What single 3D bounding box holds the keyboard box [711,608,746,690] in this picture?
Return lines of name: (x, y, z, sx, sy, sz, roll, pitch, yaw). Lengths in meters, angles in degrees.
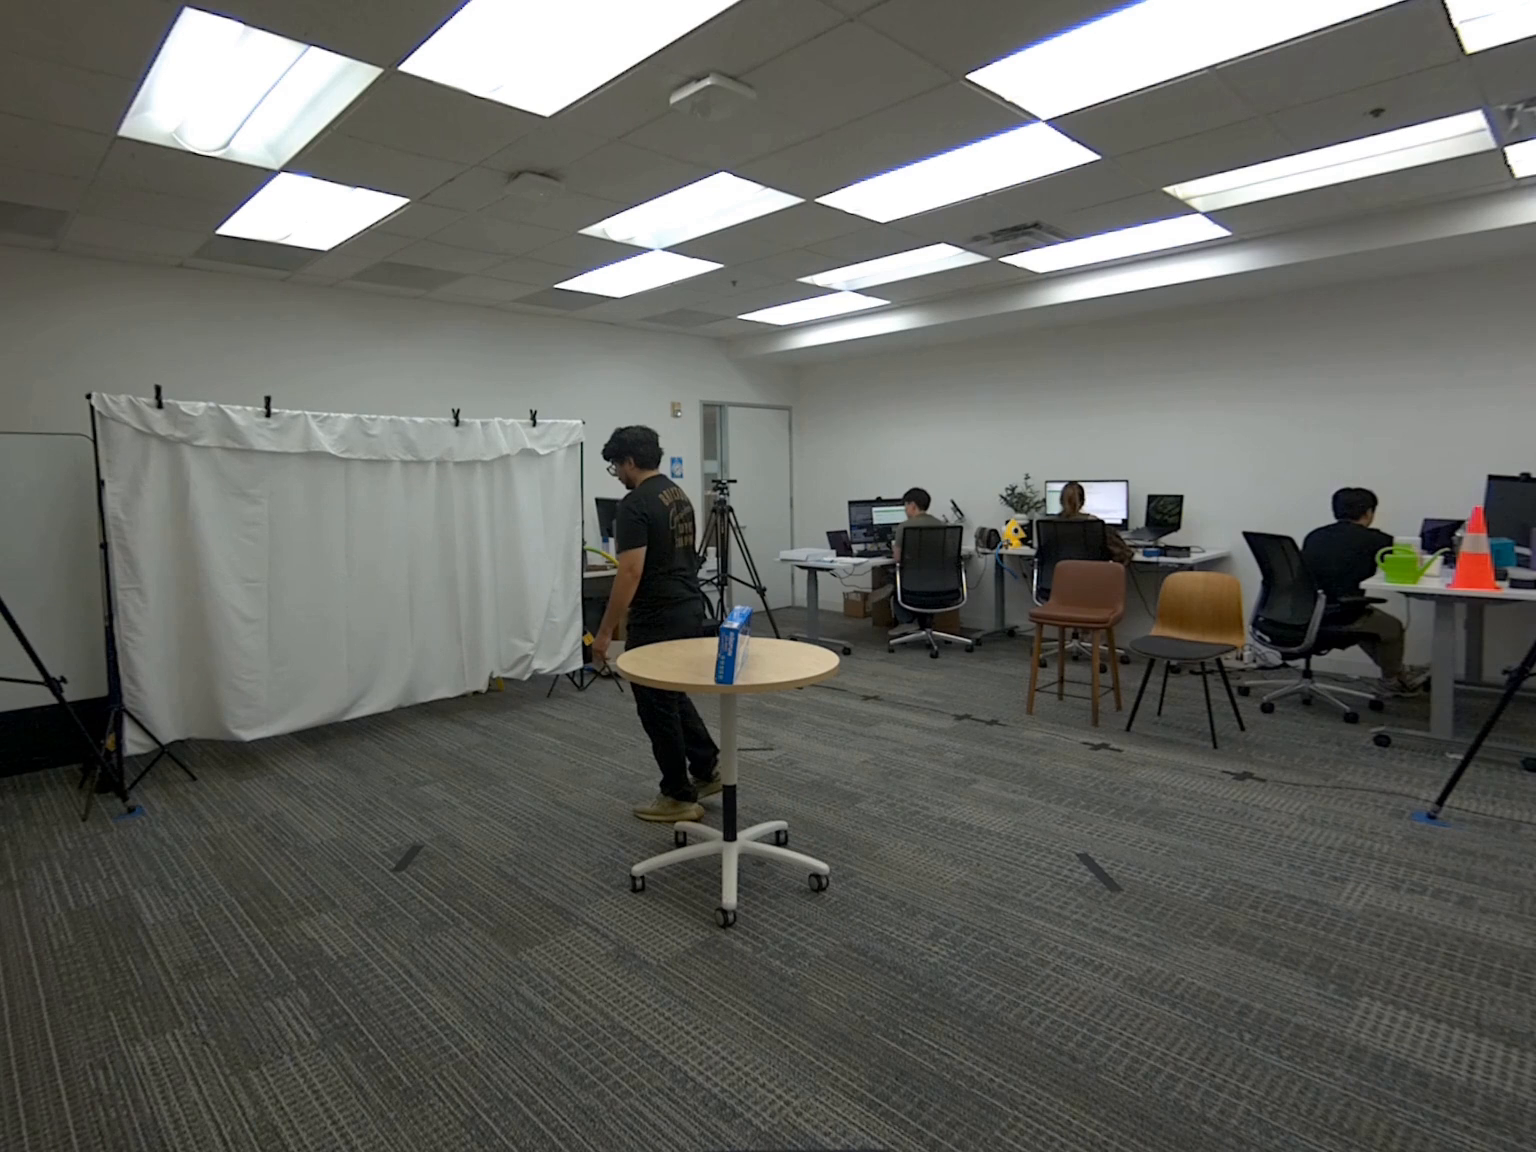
keyboard box: (-0.125, 0.225, 2.781, 0.059, 0.175, 0.436, 0, 7, 4)
